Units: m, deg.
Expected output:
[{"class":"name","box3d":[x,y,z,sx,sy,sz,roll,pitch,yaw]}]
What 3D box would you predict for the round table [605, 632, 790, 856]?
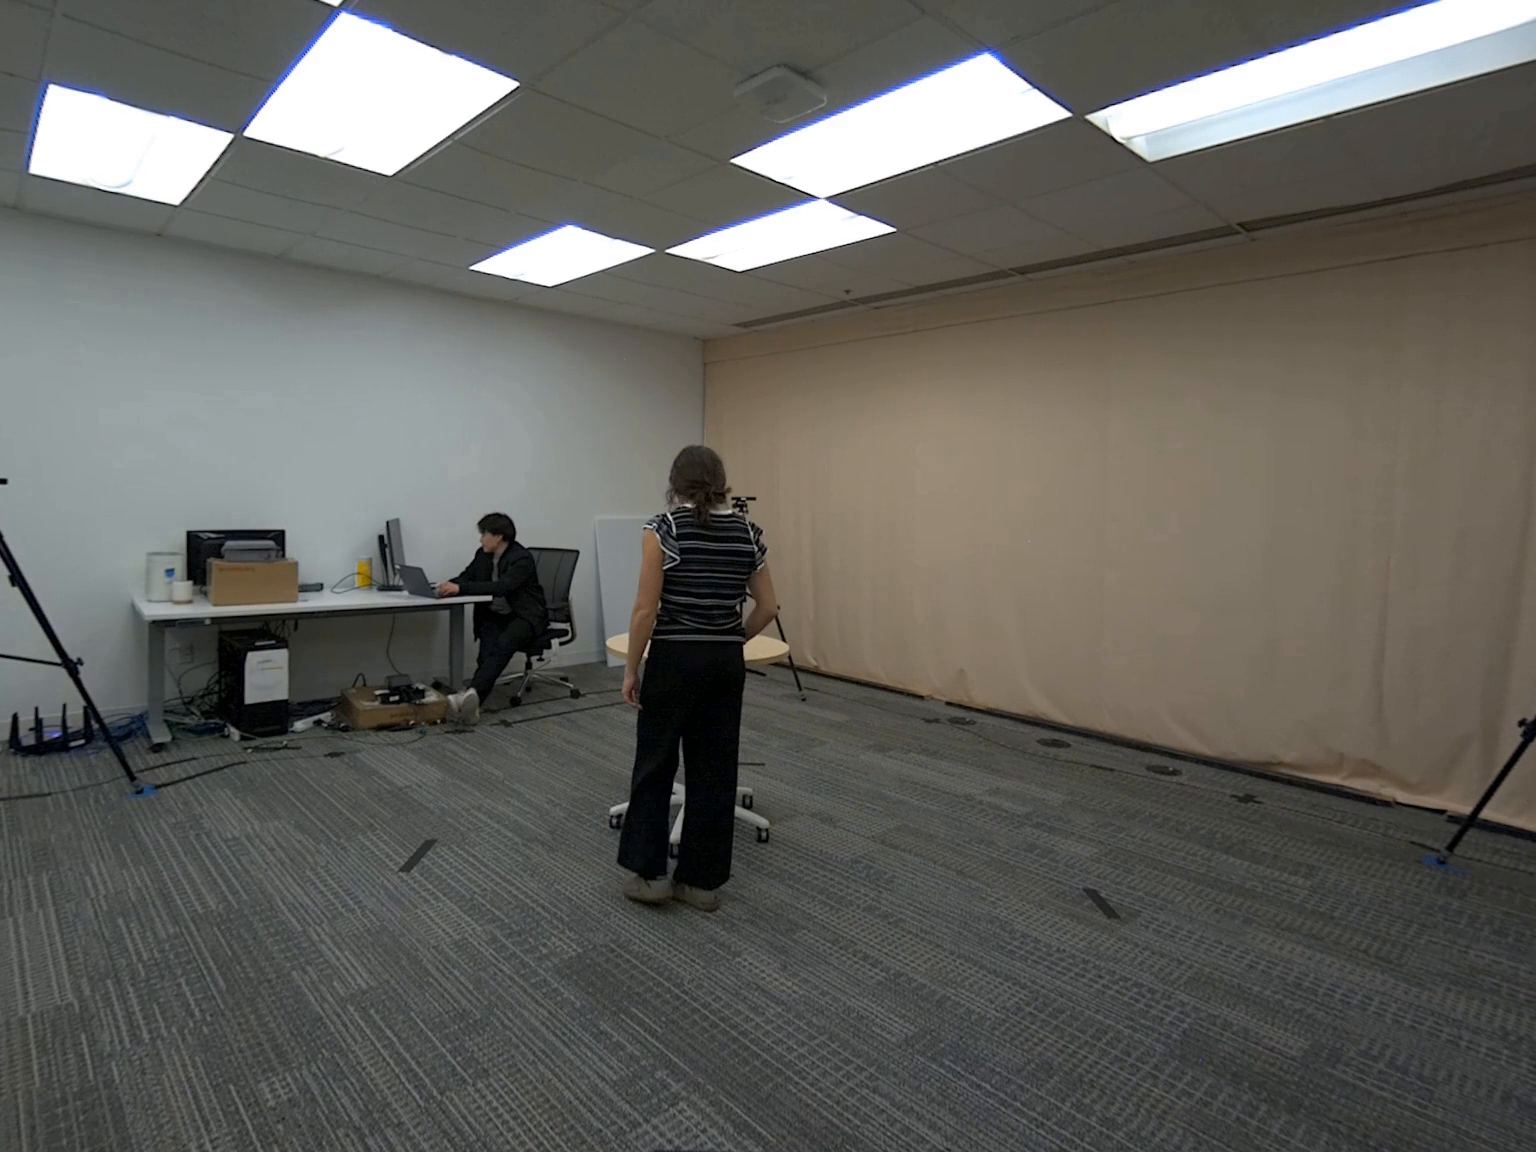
[{"class":"round table","box3d":[-0.314,0.679,3.547,0.763,0.792,0.766,2,4,-2]}]
